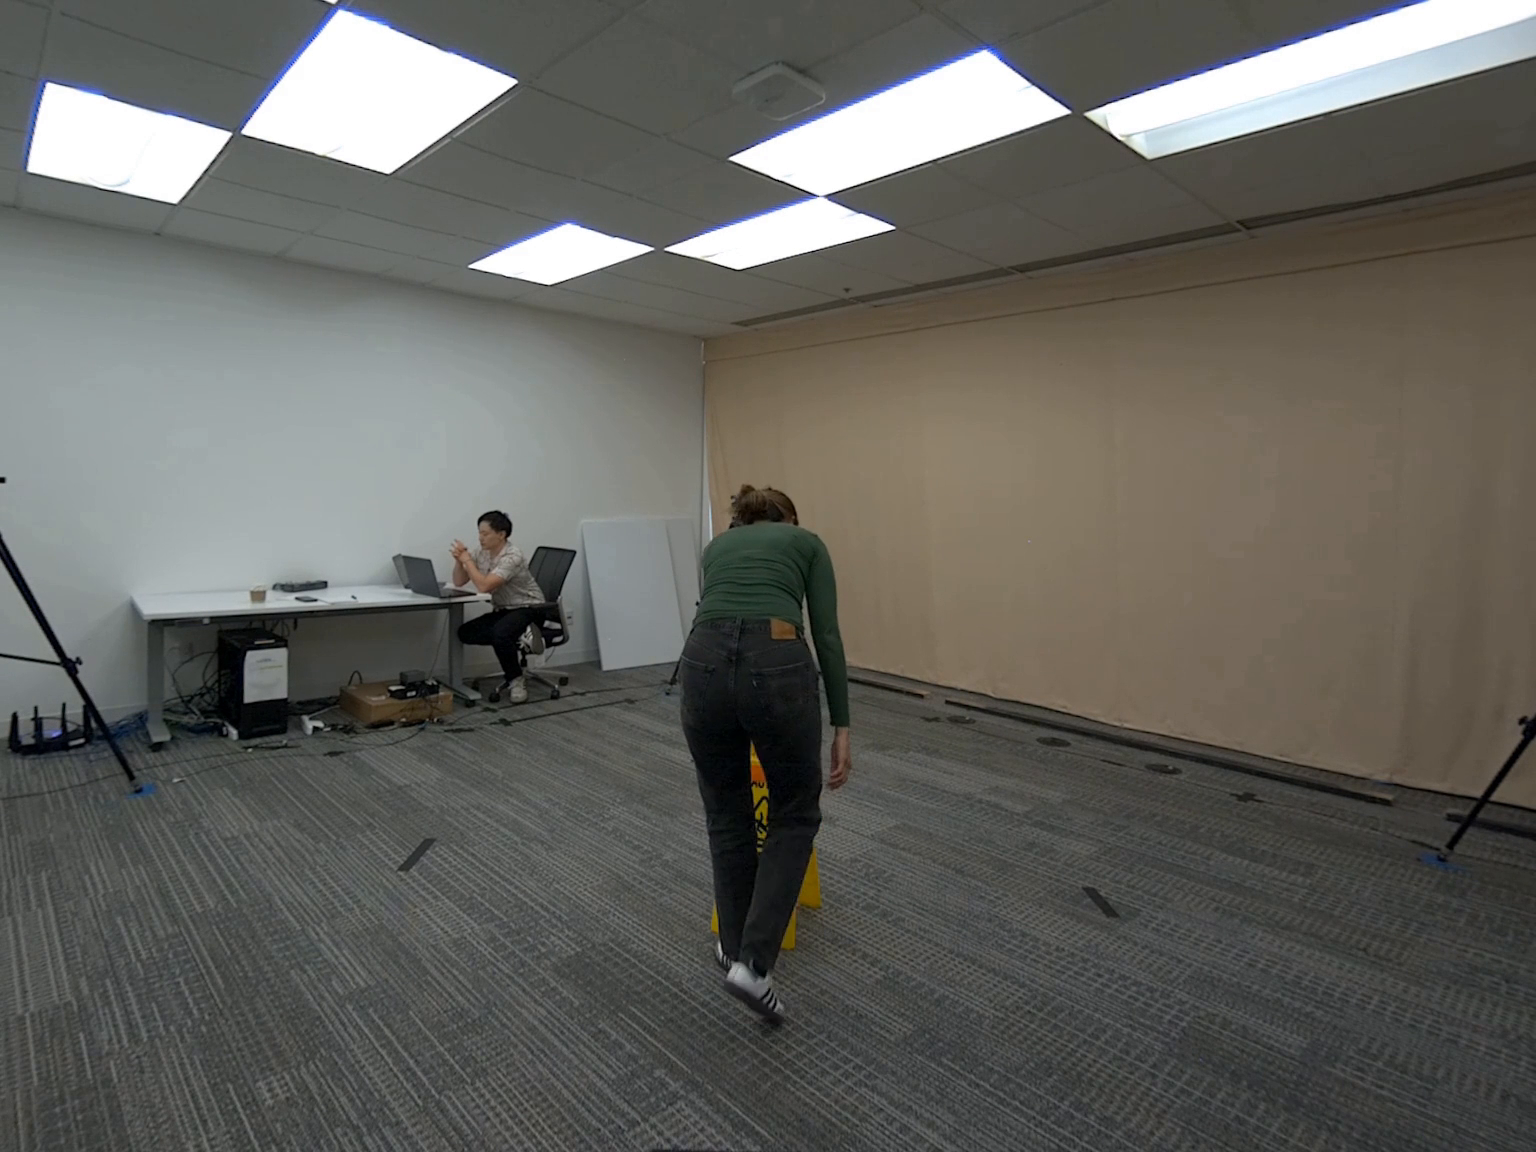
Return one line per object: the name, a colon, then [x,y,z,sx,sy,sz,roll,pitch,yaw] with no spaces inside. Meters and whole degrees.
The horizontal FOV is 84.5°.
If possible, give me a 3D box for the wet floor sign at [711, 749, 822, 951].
wet floor sign: [0.007,0.816,2.765,0.287,0.644,0.285,3,3,21]
